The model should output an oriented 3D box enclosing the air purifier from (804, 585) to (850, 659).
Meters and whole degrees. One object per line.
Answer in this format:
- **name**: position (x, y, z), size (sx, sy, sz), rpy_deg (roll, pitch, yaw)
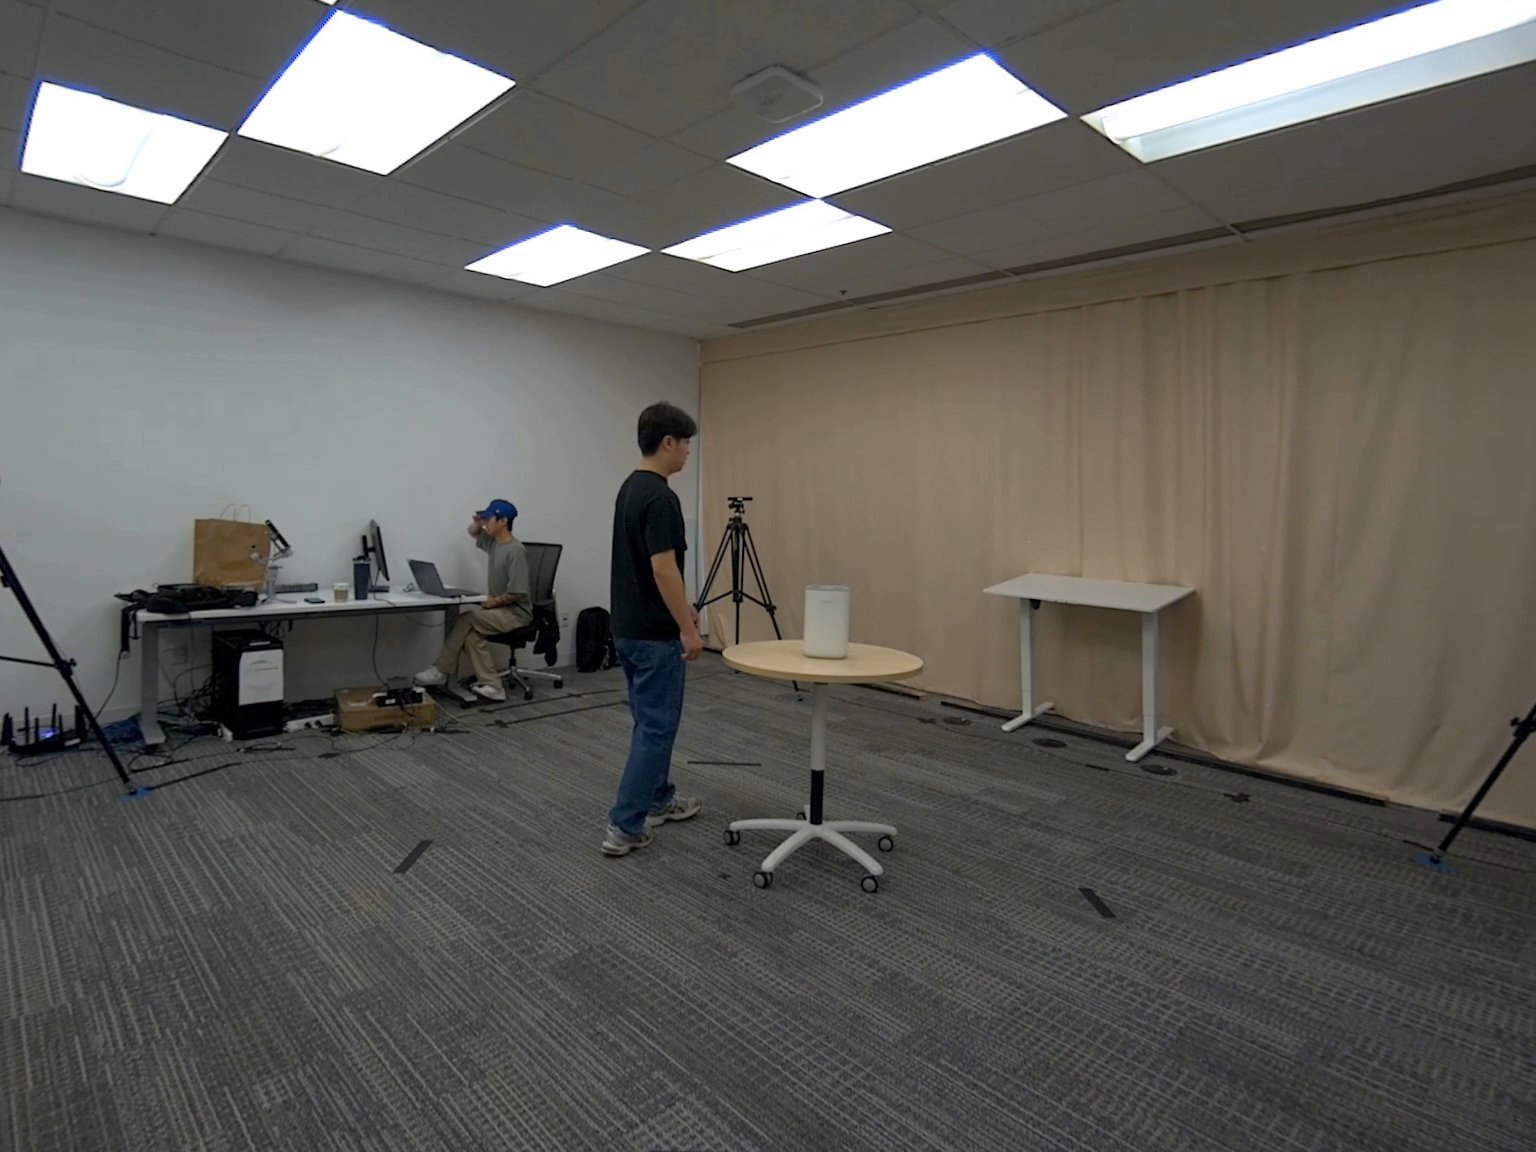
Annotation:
- **air purifier**: position (0.214, 0.176, 3.250), size (0.172, 0.265, 0.171), rpy_deg (2, 4, 7)
